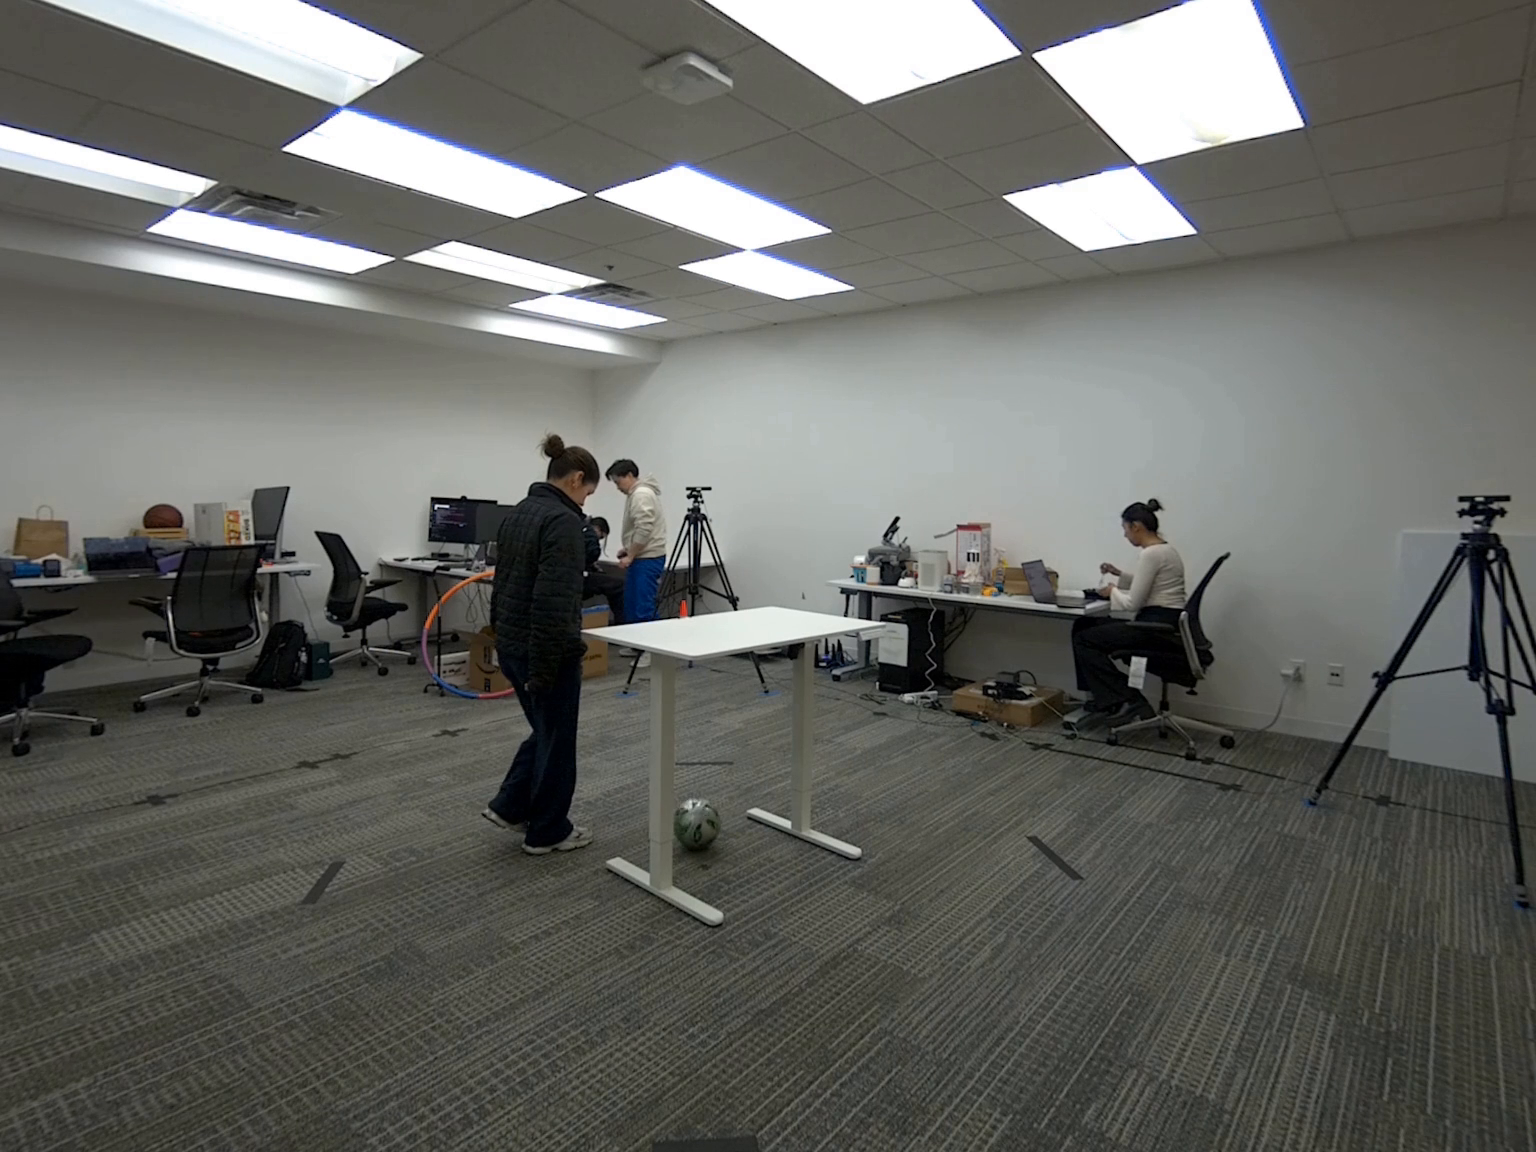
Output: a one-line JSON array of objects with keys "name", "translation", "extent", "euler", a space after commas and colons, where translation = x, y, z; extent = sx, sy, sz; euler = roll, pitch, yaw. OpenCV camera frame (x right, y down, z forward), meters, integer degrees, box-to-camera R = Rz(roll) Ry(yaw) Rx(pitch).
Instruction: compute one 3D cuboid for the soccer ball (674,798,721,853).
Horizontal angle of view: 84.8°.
[{"name": "soccer ball", "translation": [-0.288, 0.955, 3.286], "extent": [0.187, 0.187, 0.188], "euler": [1, 4, -2]}]
